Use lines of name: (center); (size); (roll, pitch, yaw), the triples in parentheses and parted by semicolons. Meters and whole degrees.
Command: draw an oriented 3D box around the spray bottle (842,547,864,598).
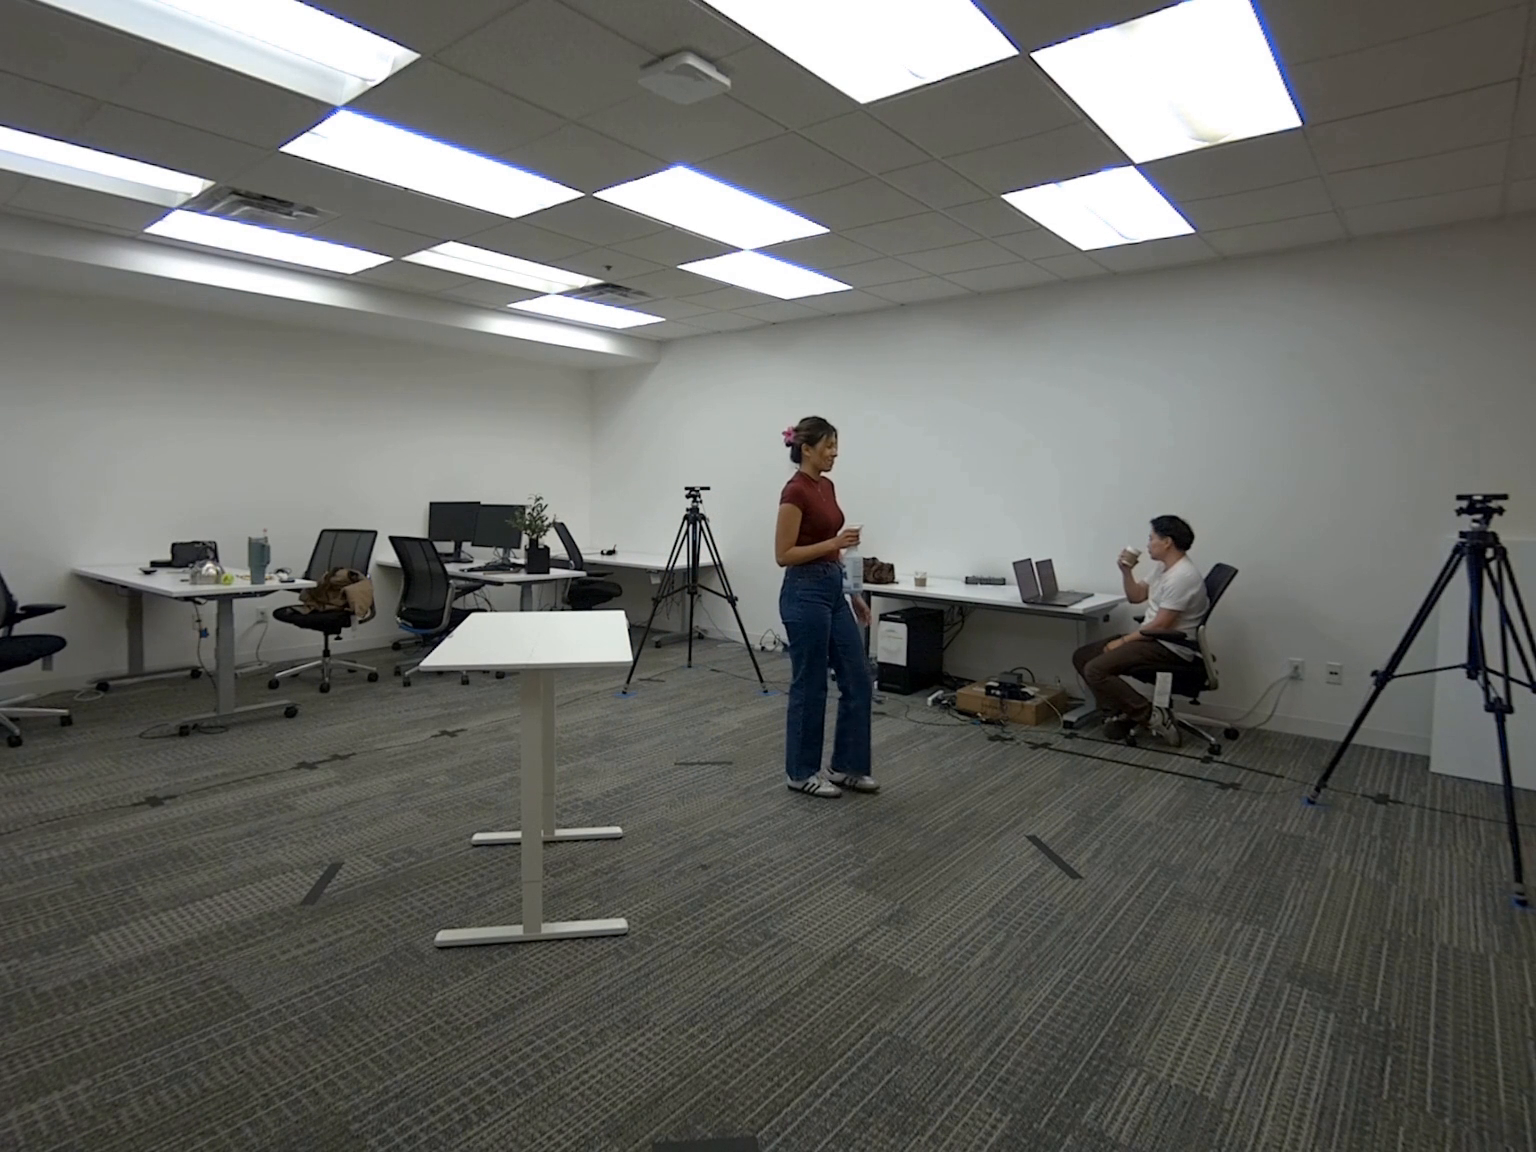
spray bottle: (0.367, -0.076, 3.649); (0.084, 0.297, 0.093); (1, 2, -42)
